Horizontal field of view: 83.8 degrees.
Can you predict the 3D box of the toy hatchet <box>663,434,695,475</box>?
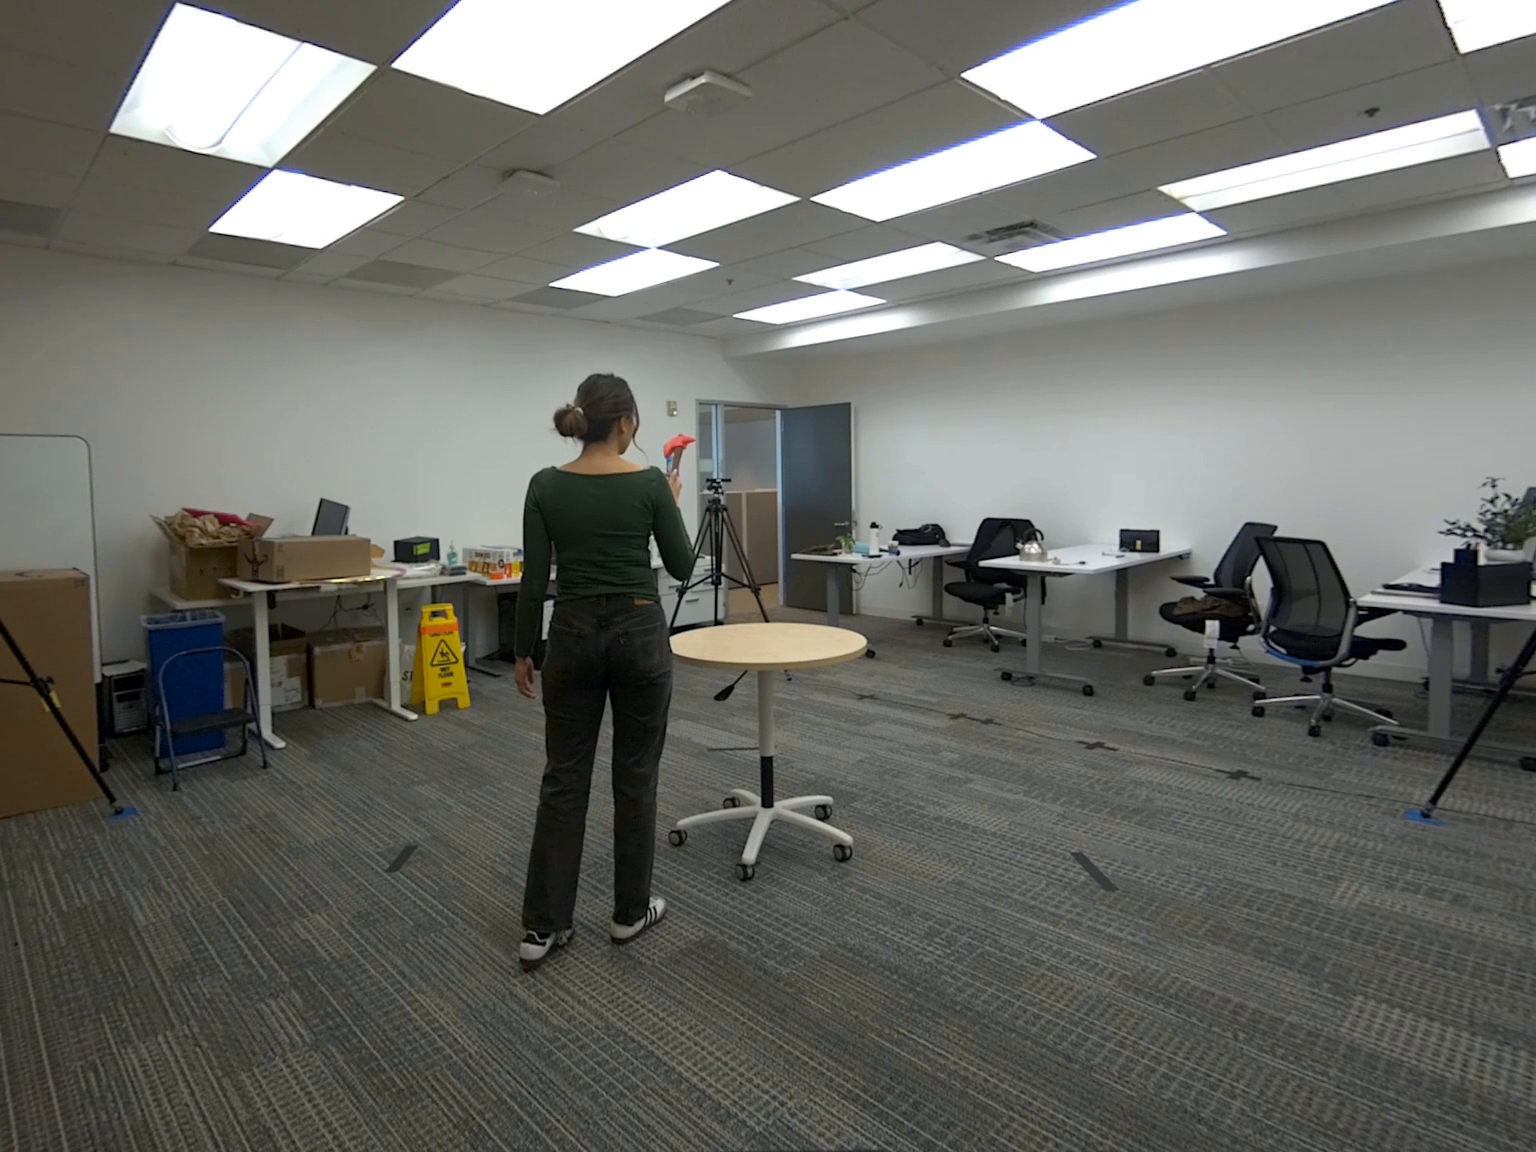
[{"bbox_3d":[-0.338,-0.362,2.877,0.135,0.272,0.028,13,-17,36],"label":"toy hatchet"}]
